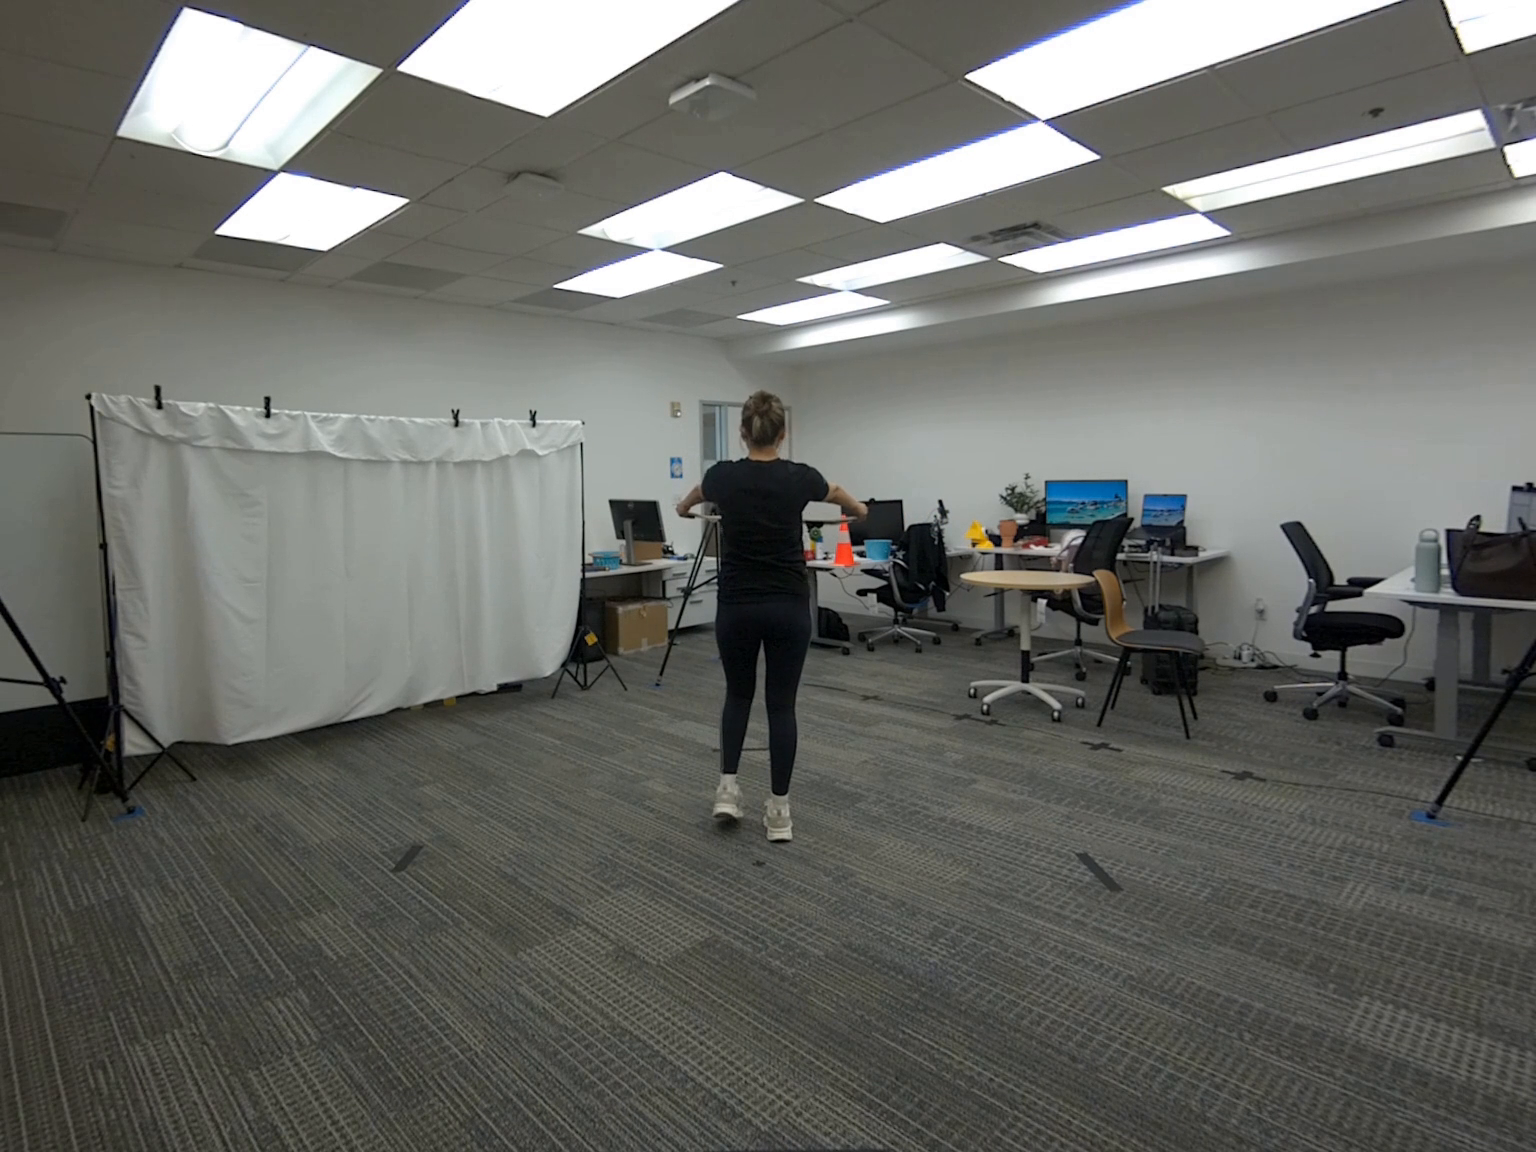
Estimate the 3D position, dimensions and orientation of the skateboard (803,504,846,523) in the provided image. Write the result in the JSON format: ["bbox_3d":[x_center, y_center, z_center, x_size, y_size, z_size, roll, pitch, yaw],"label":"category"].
[{"bbox_3d":[0.000,-0.215,3.860,0.790,0.110,0.192,2,-1,6],"label":"skateboard"}]
